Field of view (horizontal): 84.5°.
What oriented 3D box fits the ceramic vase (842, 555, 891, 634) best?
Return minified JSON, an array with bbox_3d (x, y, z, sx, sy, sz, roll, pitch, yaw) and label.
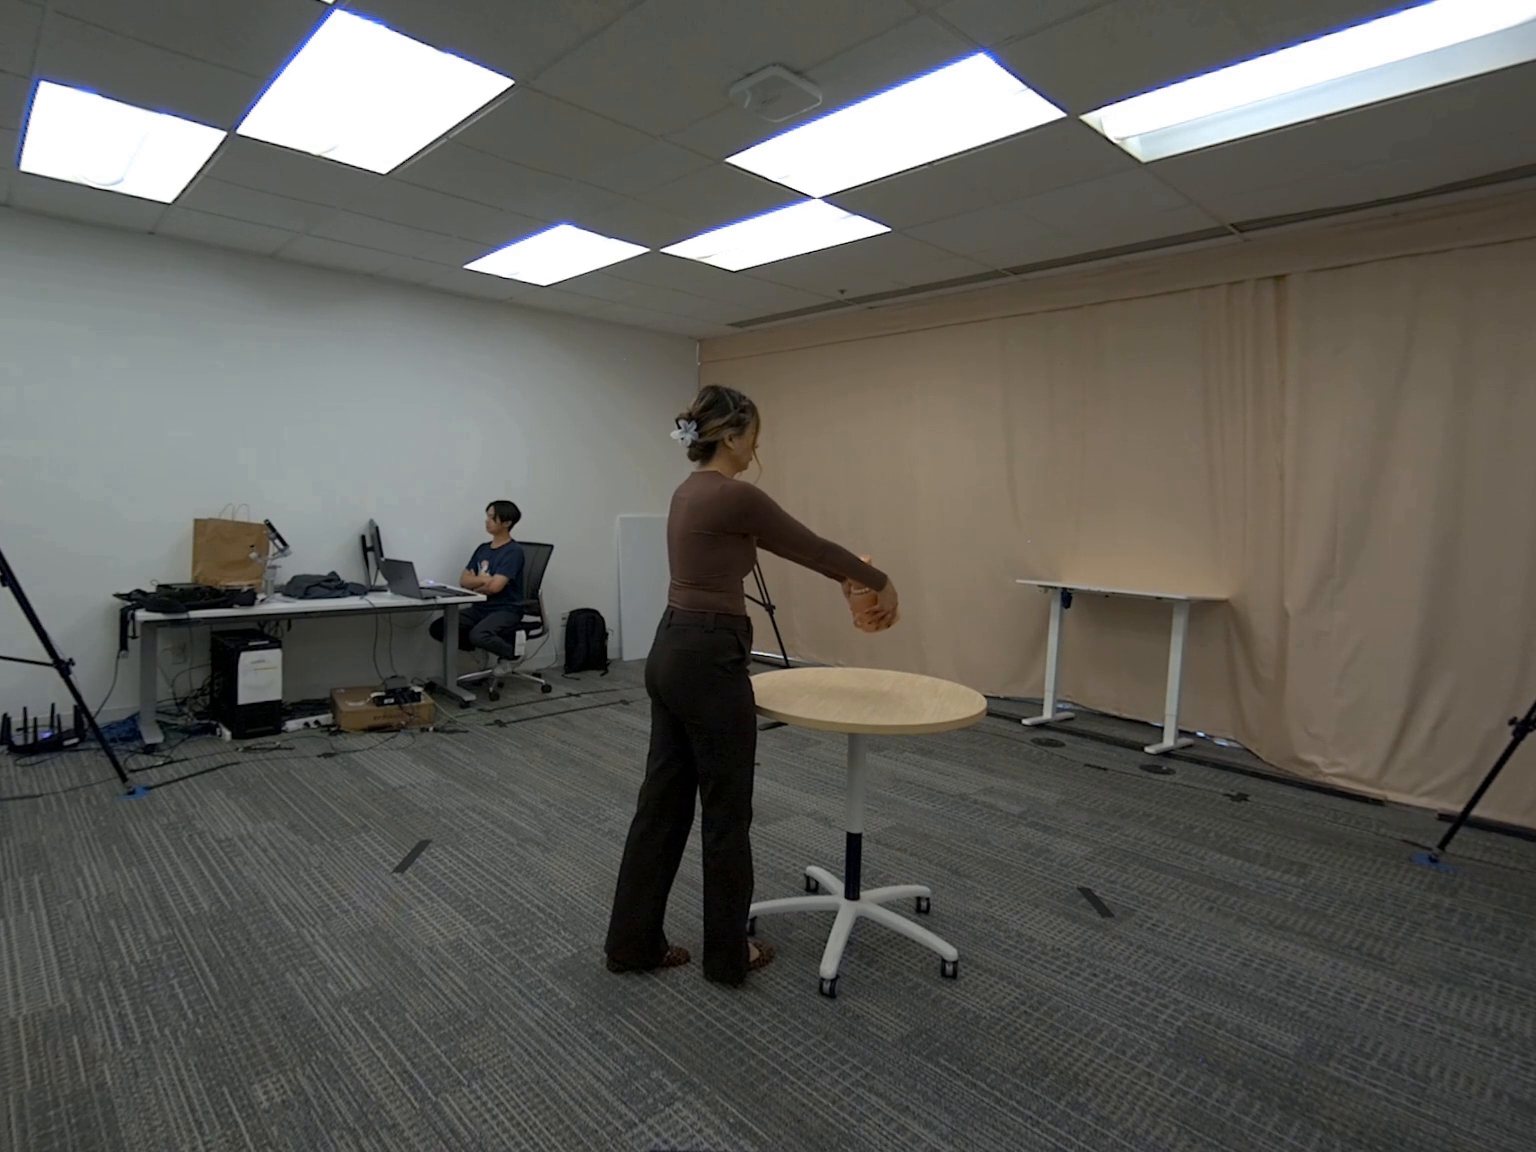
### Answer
[{"bbox_3d":[0.314,0.054,2.641,0.136,0.216,0.160,-19,16,18],"label":"ceramic vase"}]
